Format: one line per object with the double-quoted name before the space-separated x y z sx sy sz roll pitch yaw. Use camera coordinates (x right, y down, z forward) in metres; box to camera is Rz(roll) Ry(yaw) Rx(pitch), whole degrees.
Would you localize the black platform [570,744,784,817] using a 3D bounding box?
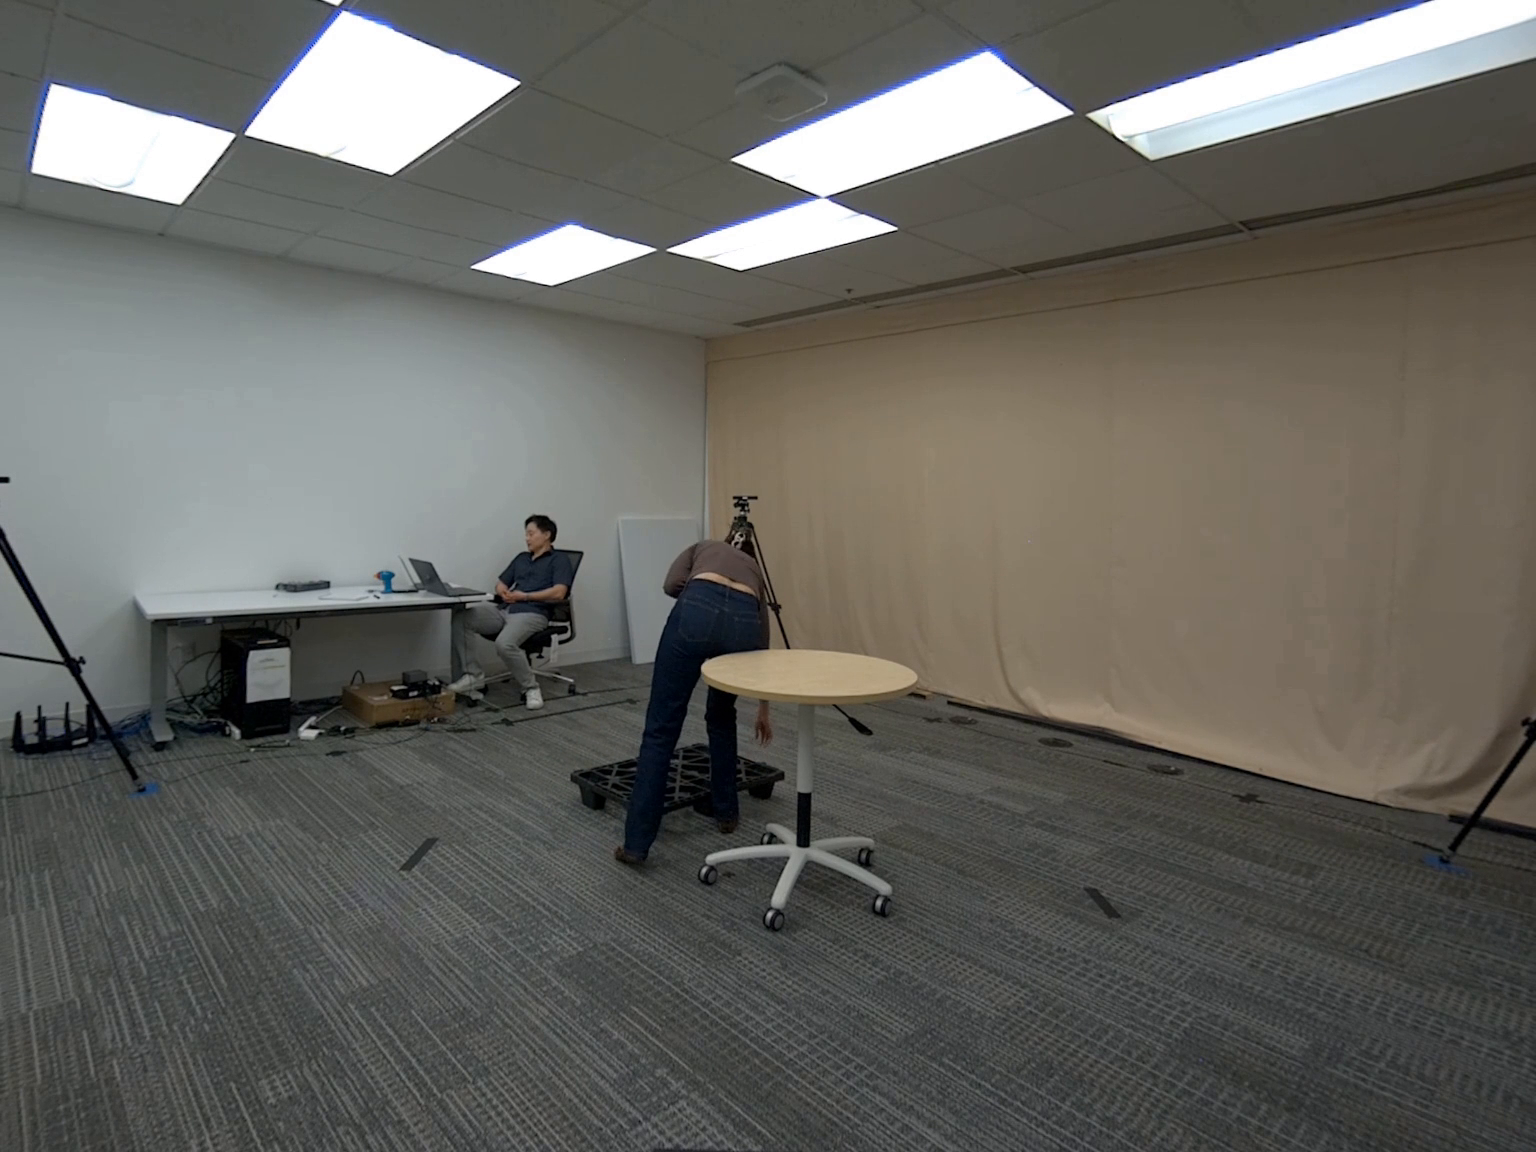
"black platform" -0.414 0.967 3.859 0.787 0.143 0.621 -3 7 -44
